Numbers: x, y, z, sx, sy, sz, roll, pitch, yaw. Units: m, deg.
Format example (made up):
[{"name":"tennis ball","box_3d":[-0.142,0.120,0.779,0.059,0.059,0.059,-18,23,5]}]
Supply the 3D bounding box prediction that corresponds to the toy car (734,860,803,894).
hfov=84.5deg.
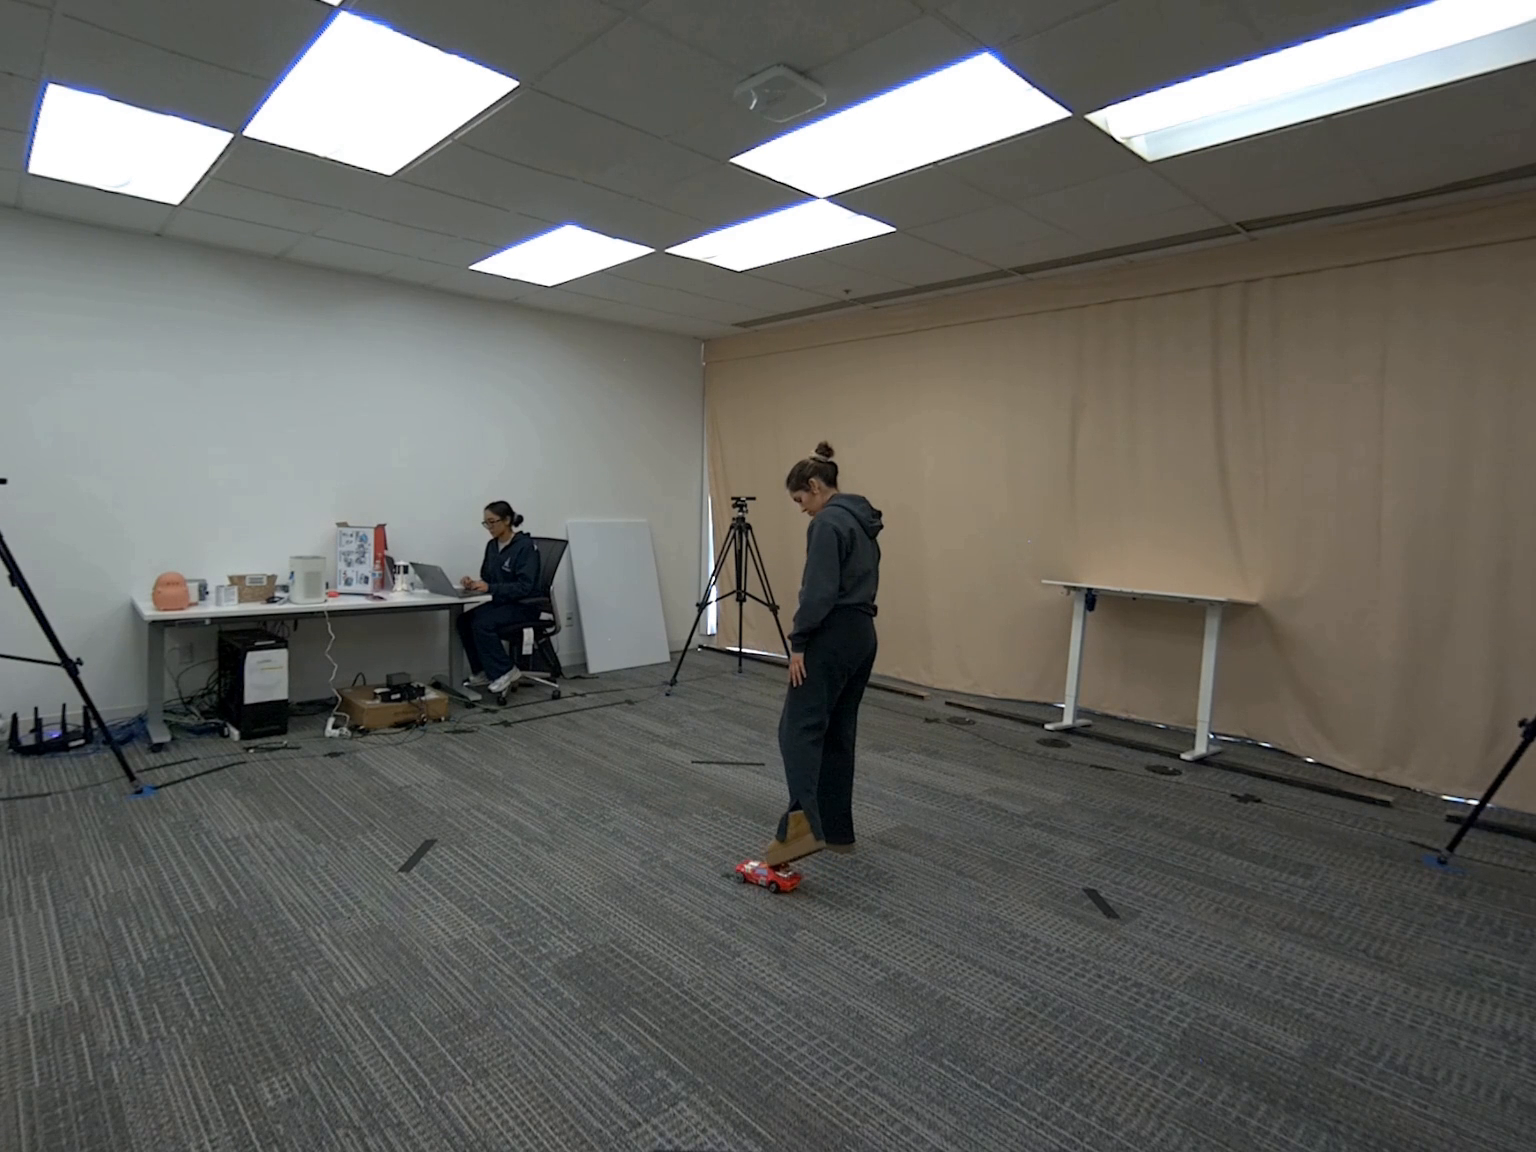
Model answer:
[{"name":"toy car","box_3d":[-0.004,1.082,3.054,0.259,0.083,0.127,-7,-1,35]}]
